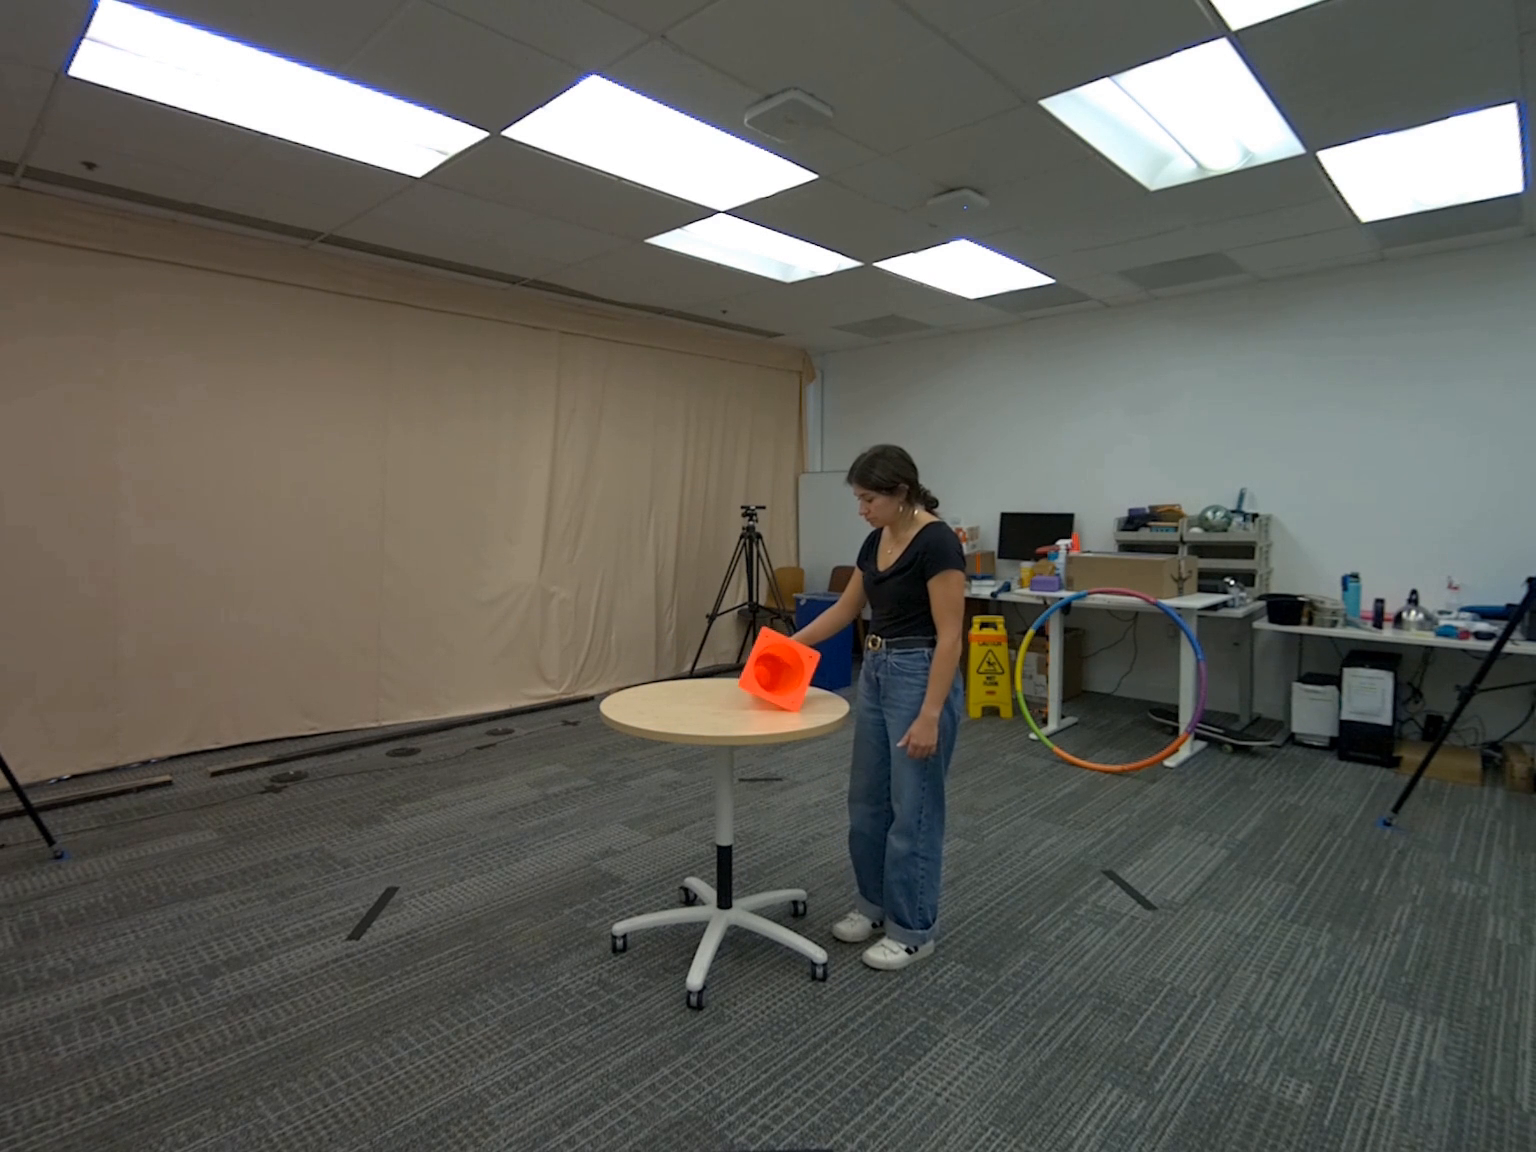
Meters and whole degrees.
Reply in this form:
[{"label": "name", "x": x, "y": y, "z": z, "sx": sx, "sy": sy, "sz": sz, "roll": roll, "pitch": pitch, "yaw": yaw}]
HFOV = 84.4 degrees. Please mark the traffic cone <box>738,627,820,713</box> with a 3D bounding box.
[{"label": "traffic cone", "x": 0.010, "y": 0.328, "z": 2.690, "sx": 0.205, "sy": 0.203, "sz": 0.384, "roll": 34, "pitch": -19, "yaw": -2}]
